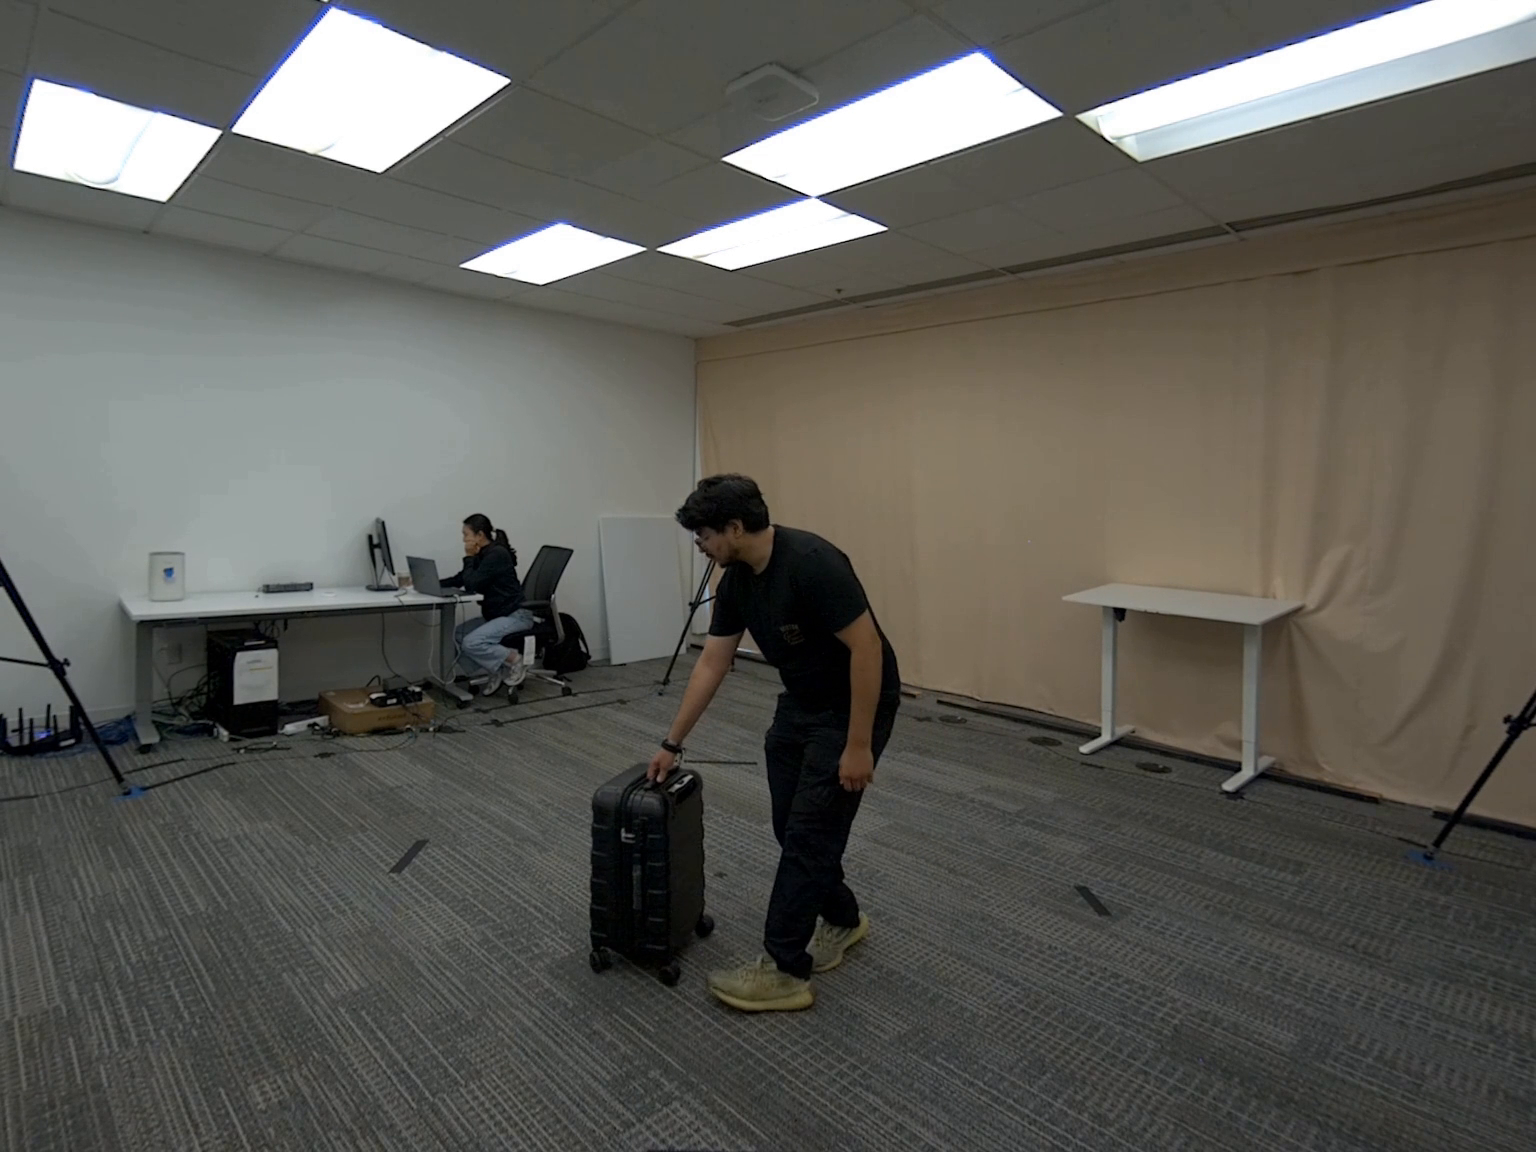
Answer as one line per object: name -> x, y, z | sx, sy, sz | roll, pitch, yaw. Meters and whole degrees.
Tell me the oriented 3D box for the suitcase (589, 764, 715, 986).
suitcase -> -0.360, 0.874, 2.579 | 0.252, 0.549, 0.371 | -1, 2, 17
